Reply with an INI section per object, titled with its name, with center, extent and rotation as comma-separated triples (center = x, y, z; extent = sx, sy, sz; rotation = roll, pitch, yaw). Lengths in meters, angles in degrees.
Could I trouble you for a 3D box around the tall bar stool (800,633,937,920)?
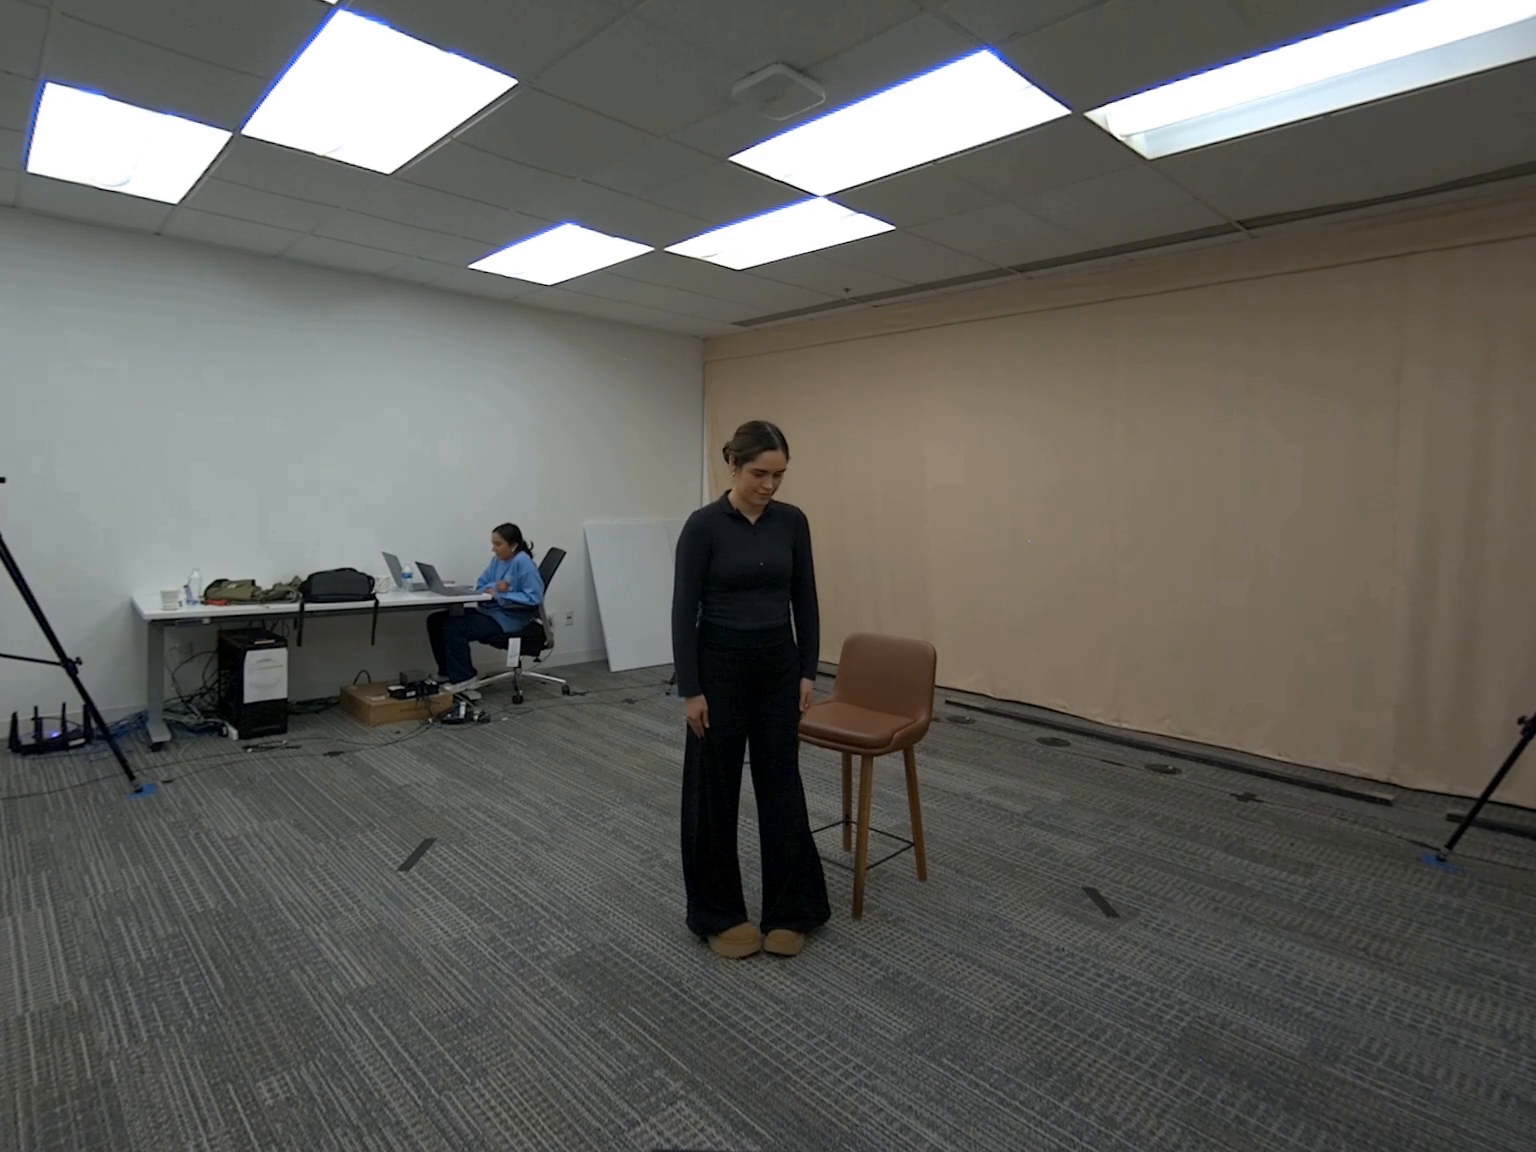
[tall bar stool]
center = 0.316, 0.682, 3.058
extent = 0.468, 0.888, 0.456
rotation = 5, 3, 44
